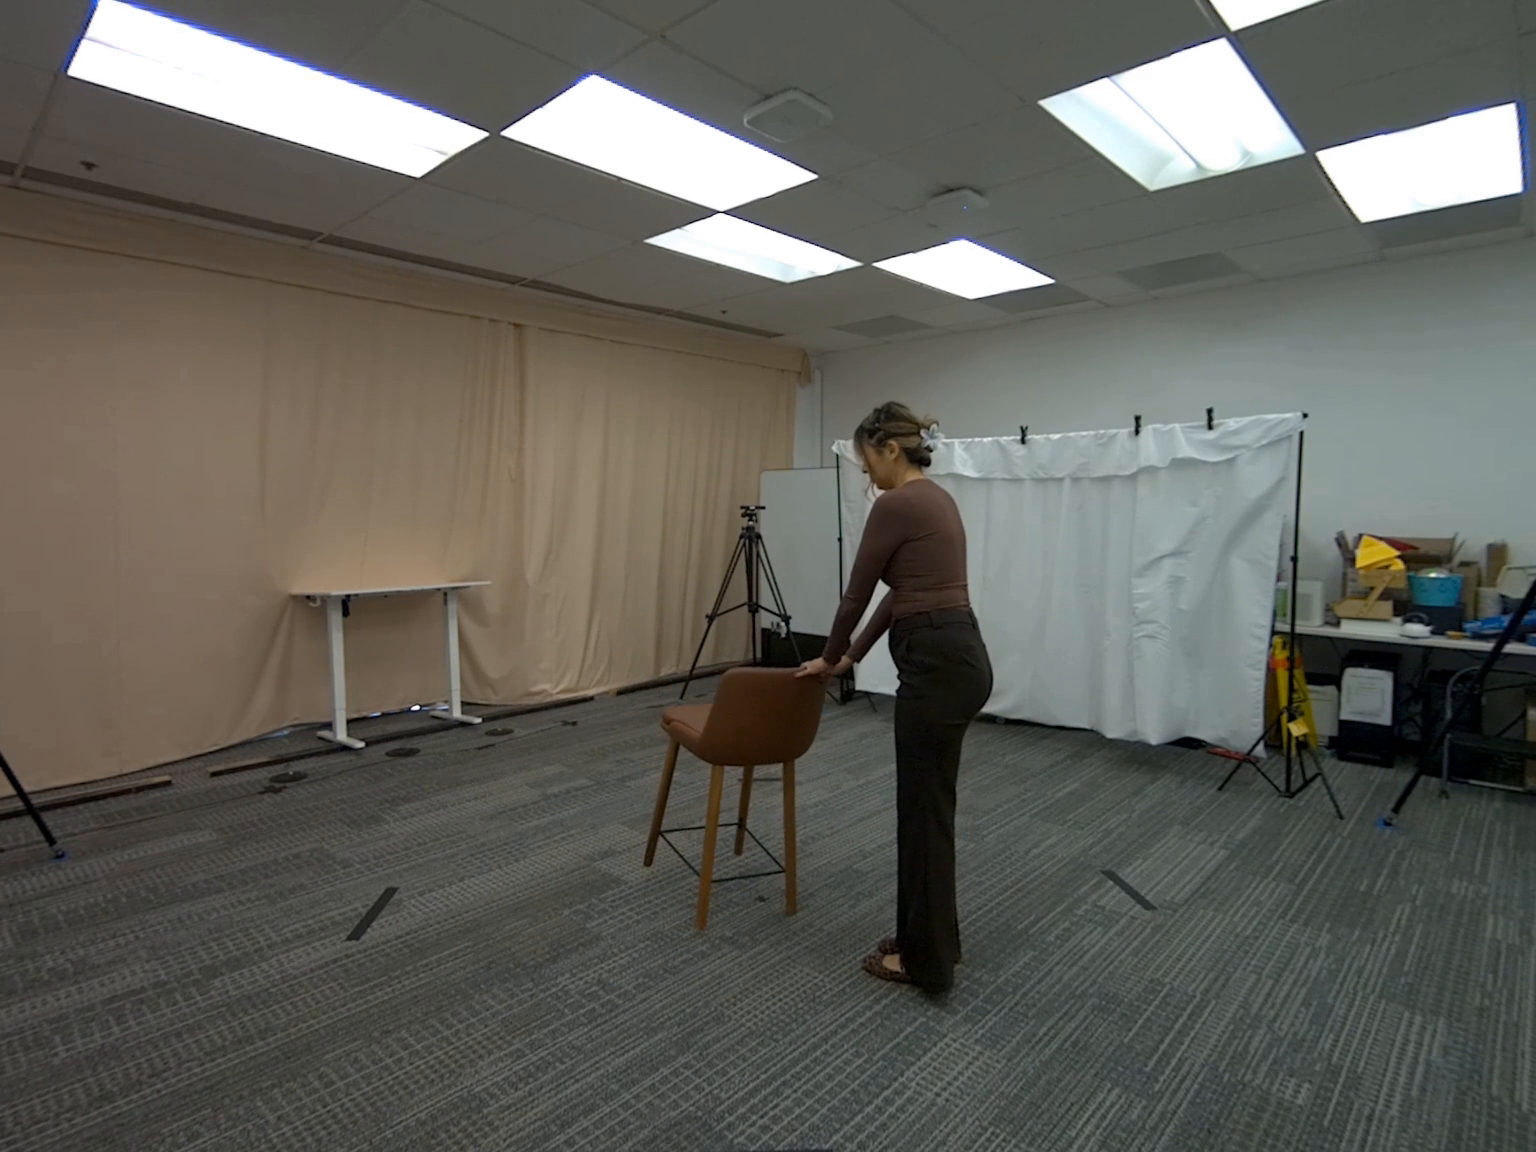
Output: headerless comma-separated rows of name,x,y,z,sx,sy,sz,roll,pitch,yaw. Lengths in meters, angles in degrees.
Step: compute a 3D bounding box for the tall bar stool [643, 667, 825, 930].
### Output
tall bar stool,-0.115,0.683,2.927,0.444,0.886,0.482,3,9,-29
